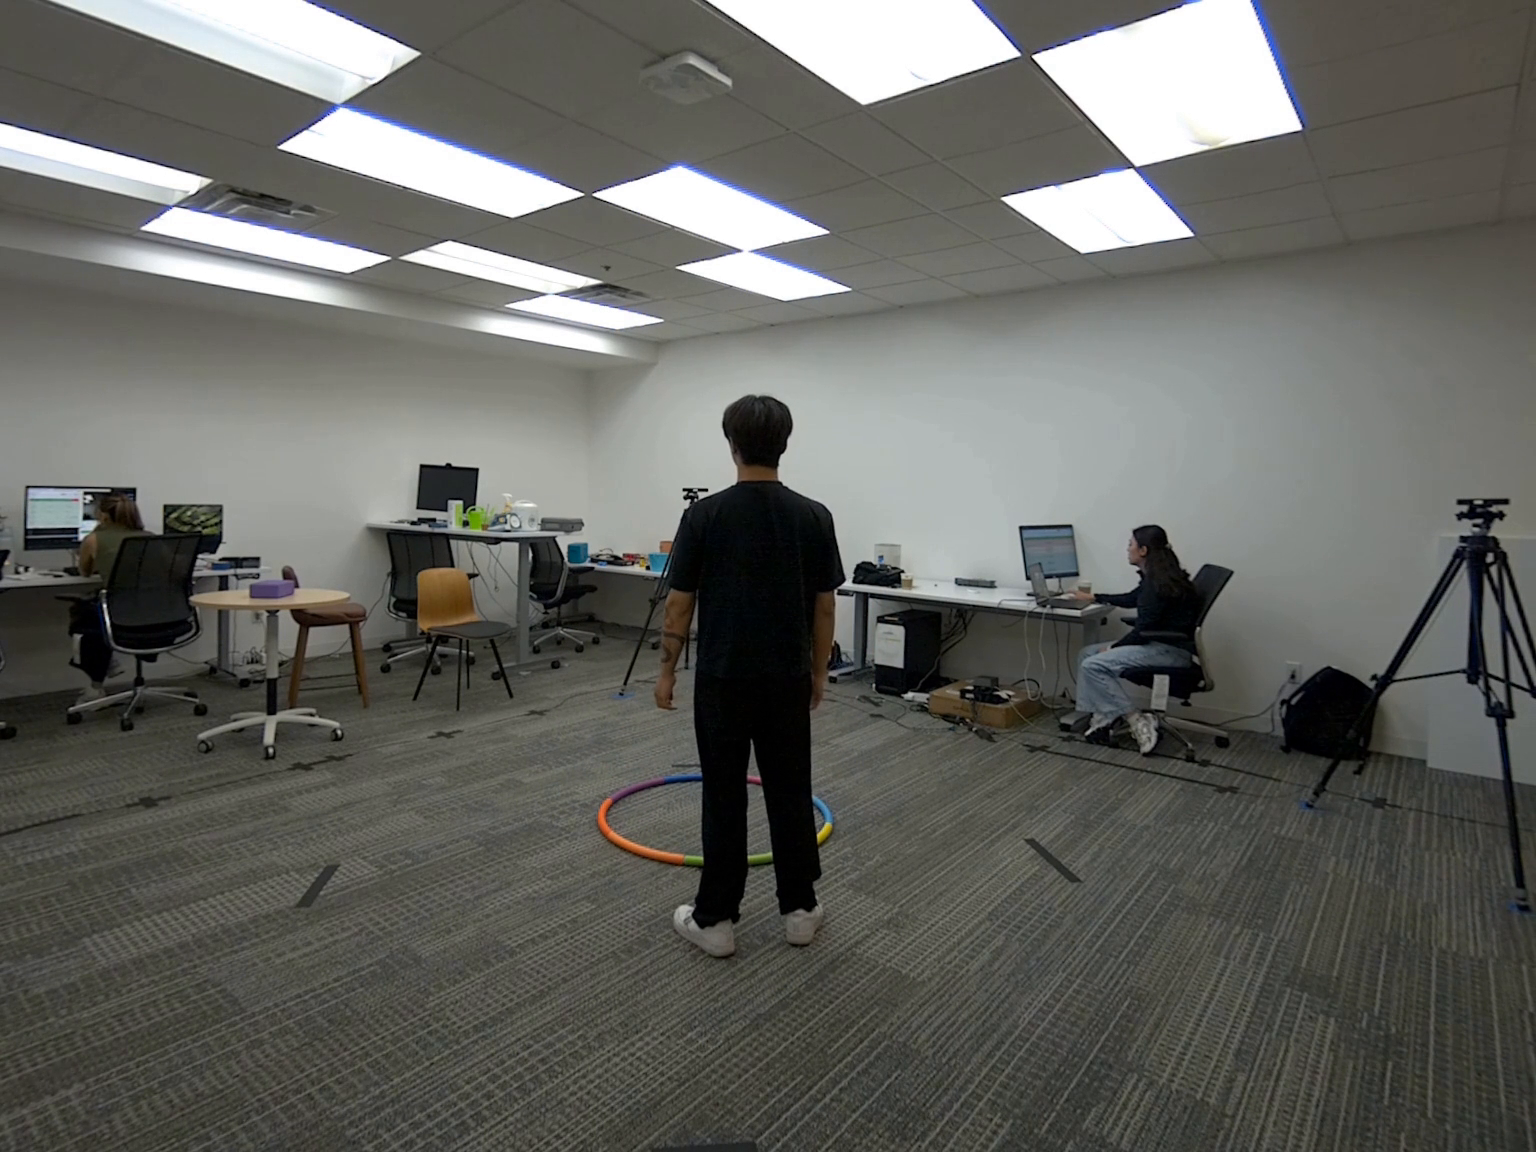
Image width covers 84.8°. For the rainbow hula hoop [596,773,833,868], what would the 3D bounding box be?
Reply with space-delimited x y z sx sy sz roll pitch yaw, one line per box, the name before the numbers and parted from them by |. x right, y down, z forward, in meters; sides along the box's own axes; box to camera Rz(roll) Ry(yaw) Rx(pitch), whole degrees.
rainbow hula hoop | -0.234 0.990 3.592 0.978 0.035 0.984 1 6 -2
